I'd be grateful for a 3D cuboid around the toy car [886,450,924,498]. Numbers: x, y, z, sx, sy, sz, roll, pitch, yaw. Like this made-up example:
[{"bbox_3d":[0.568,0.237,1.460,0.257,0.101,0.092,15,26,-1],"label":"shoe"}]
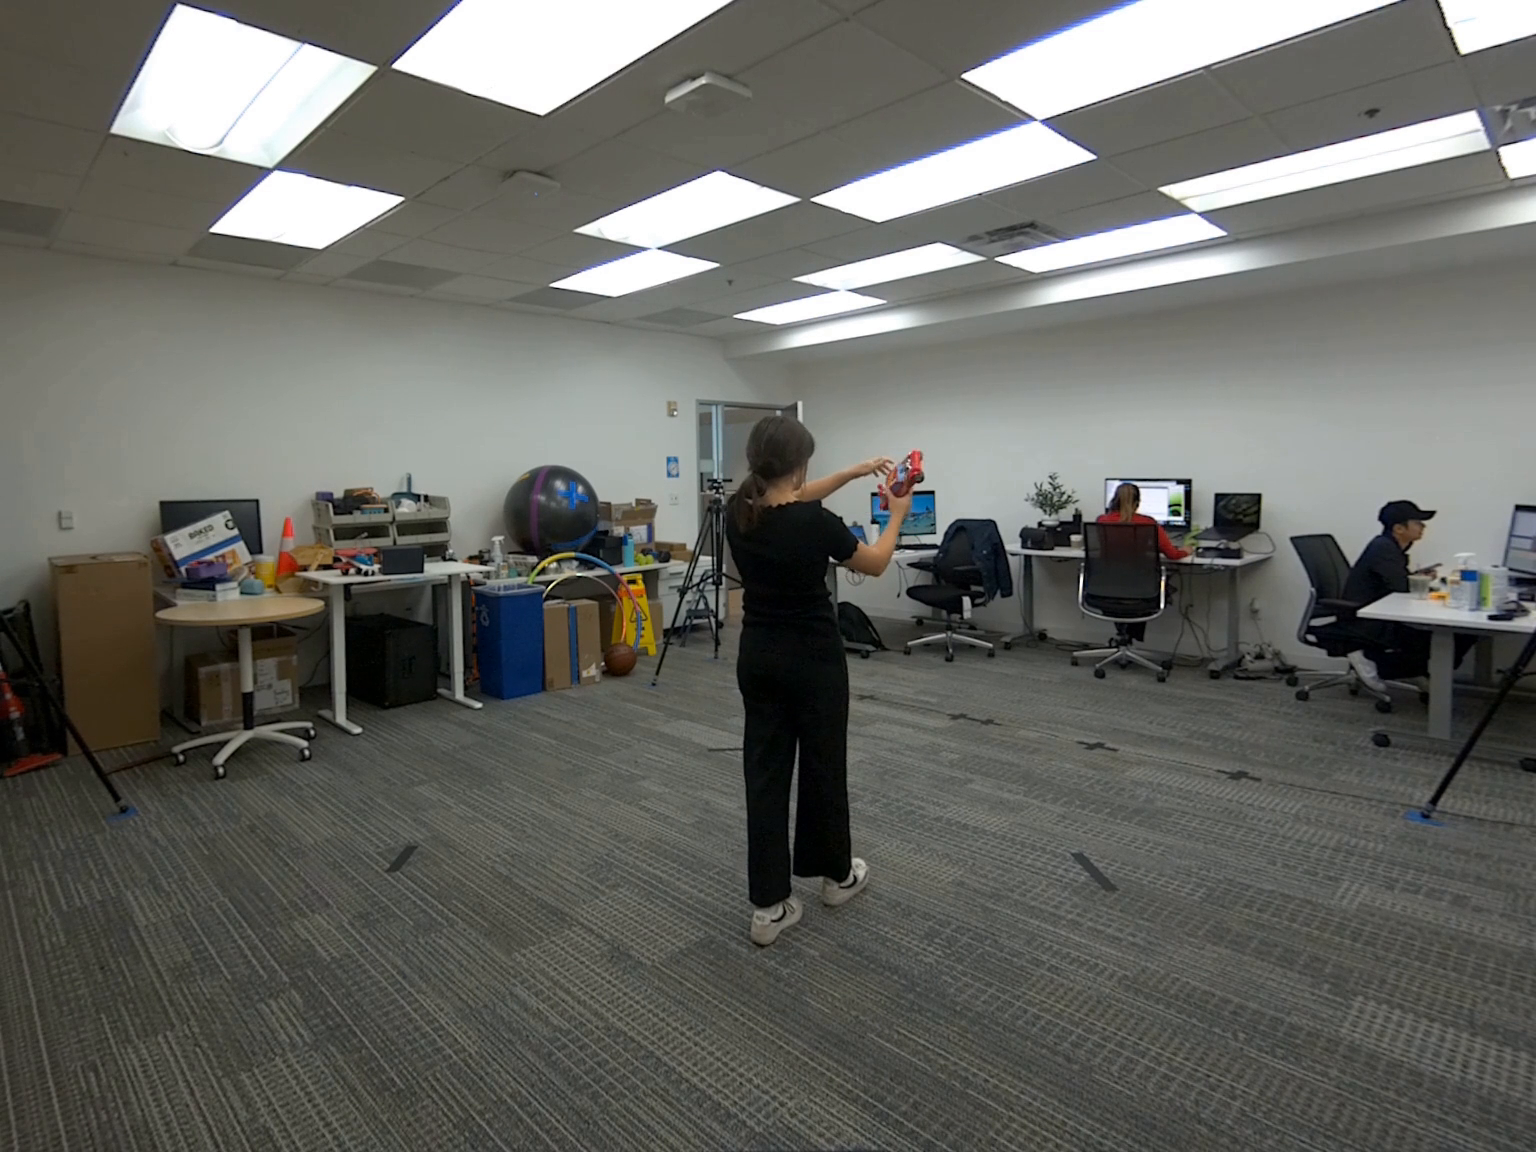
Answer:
[{"bbox_3d":[0.449,-0.318,2.879,0.081,0.133,0.254,19,-37,-23],"label":"toy car"}]
